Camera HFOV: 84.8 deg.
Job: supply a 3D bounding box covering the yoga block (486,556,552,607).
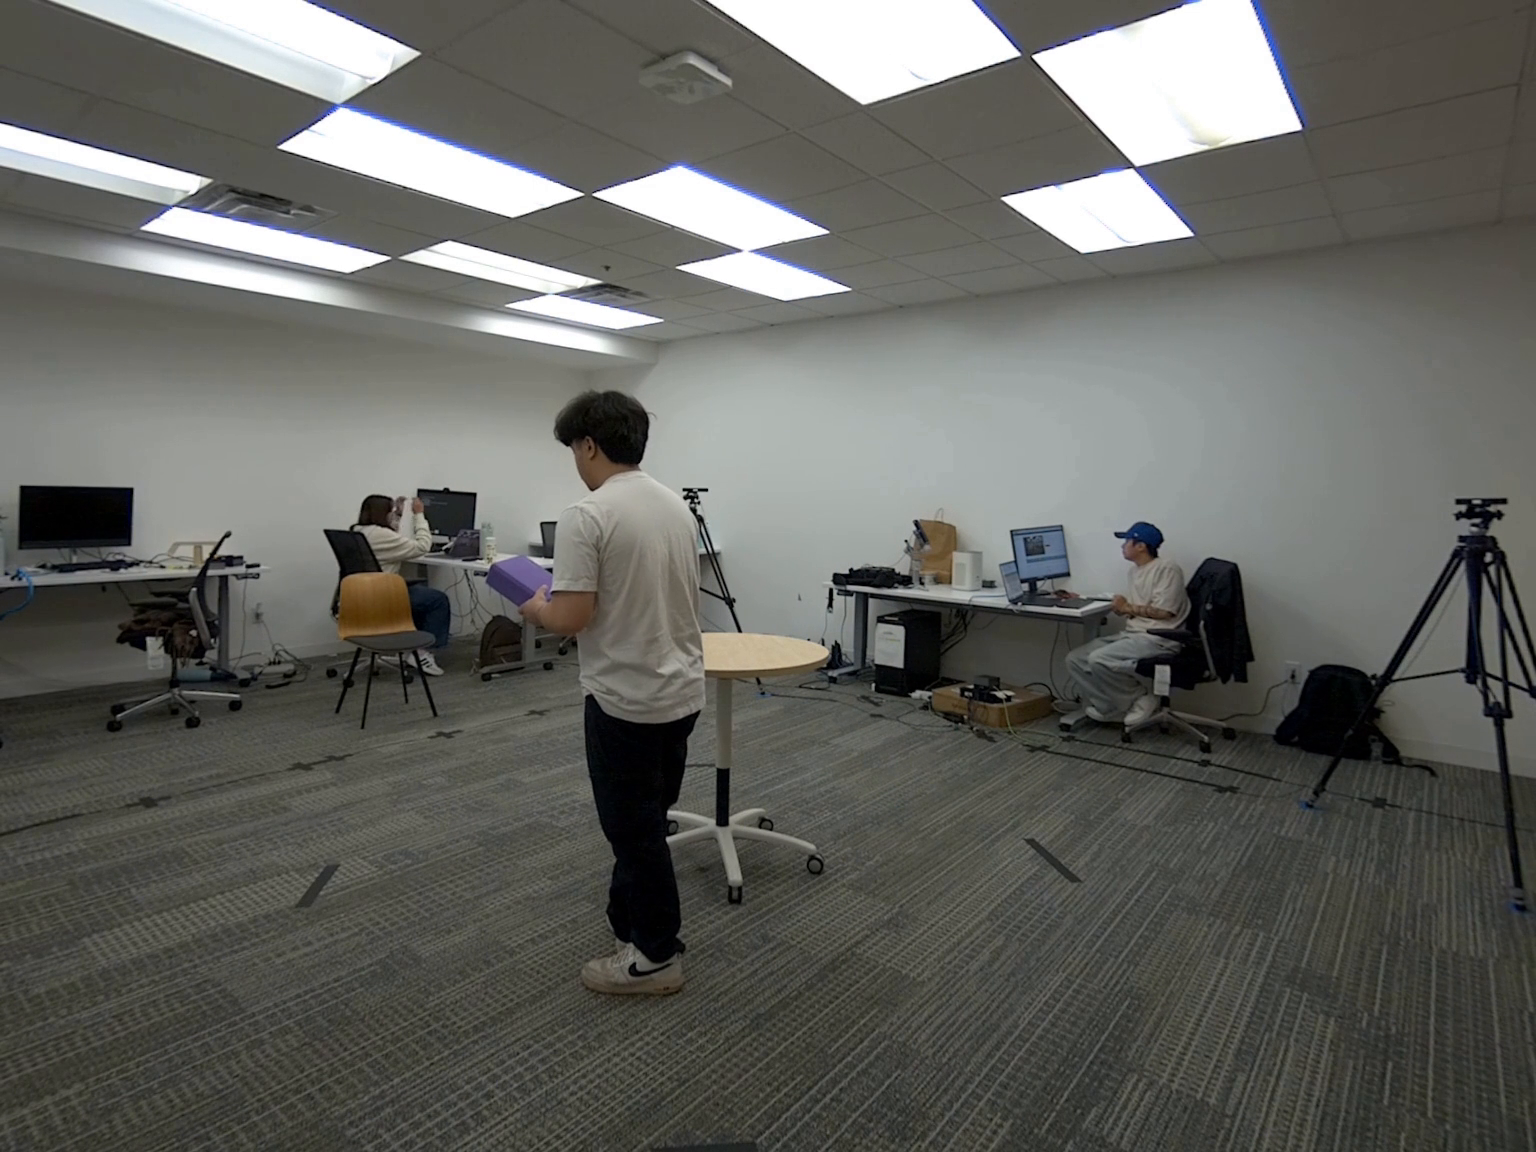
[{"bbox_3d":[-0.726,0.031,2.558,0.235,0.075,0.147,31,24,18],"label":"yoga block"}]
